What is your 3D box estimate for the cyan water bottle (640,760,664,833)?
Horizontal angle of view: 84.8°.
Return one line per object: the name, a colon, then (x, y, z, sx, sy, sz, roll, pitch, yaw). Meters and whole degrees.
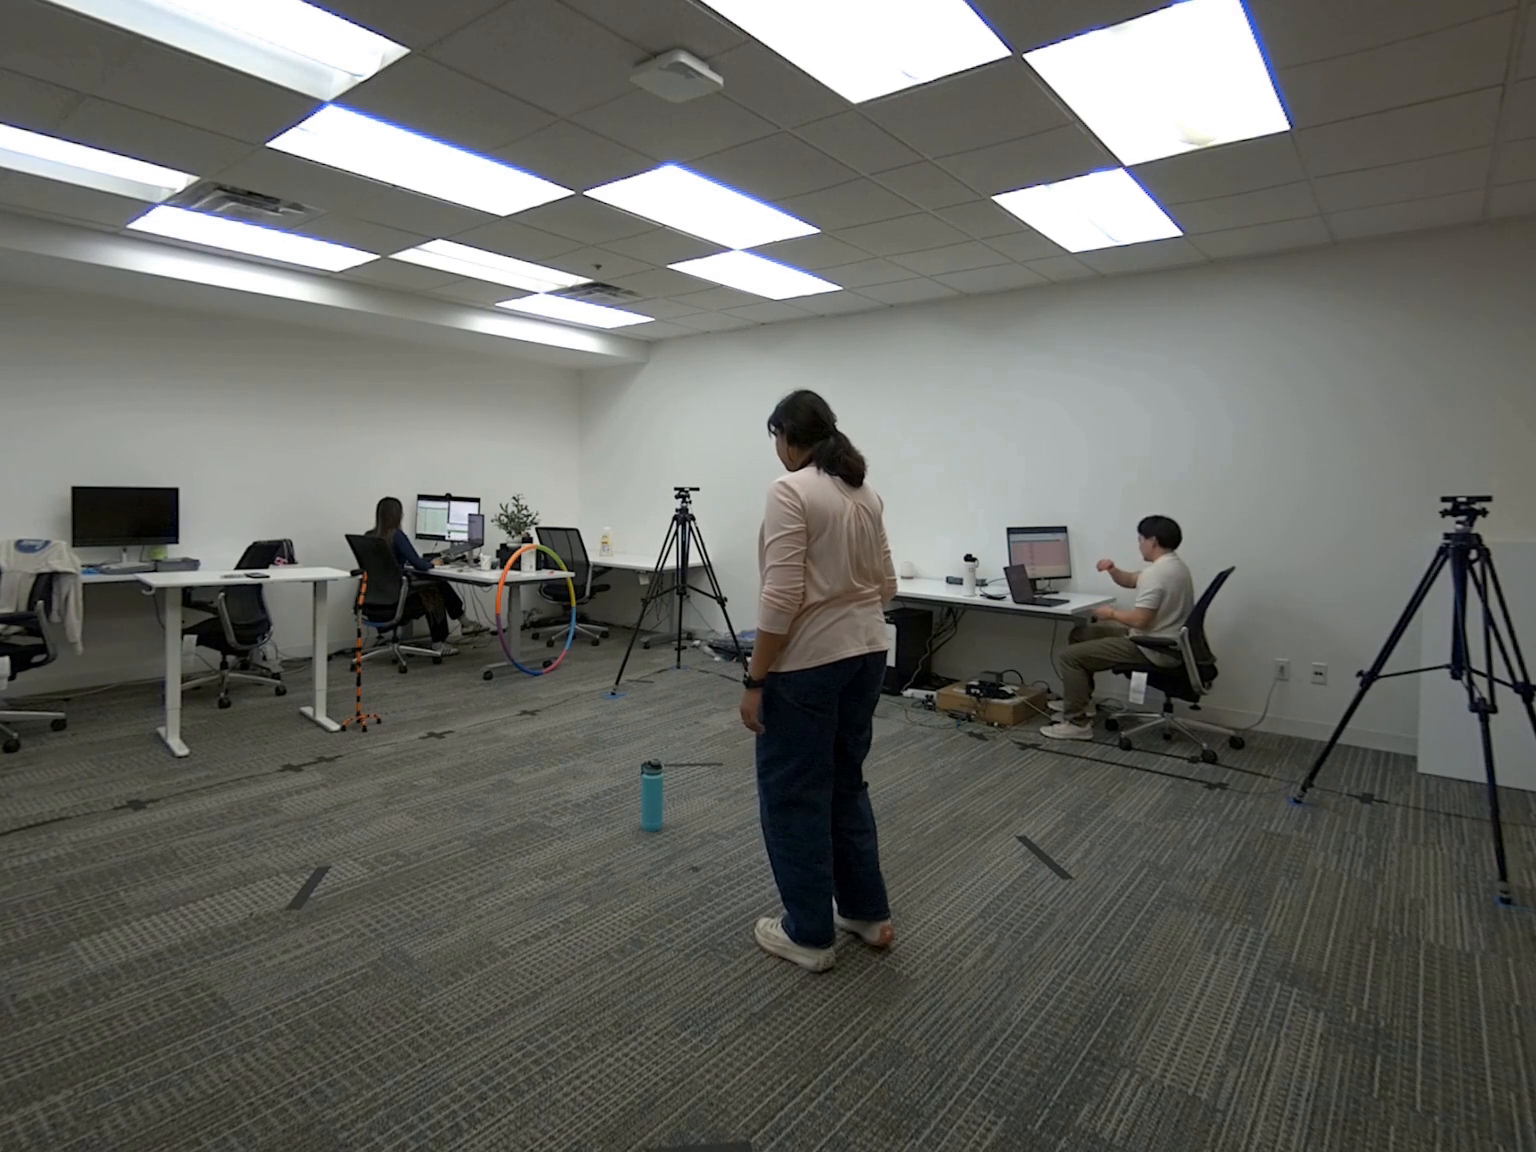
cyan water bottle: (-0.488, 0.888, 3.483, 0.092, 0.283, 0.092, 1, 2, -2)
